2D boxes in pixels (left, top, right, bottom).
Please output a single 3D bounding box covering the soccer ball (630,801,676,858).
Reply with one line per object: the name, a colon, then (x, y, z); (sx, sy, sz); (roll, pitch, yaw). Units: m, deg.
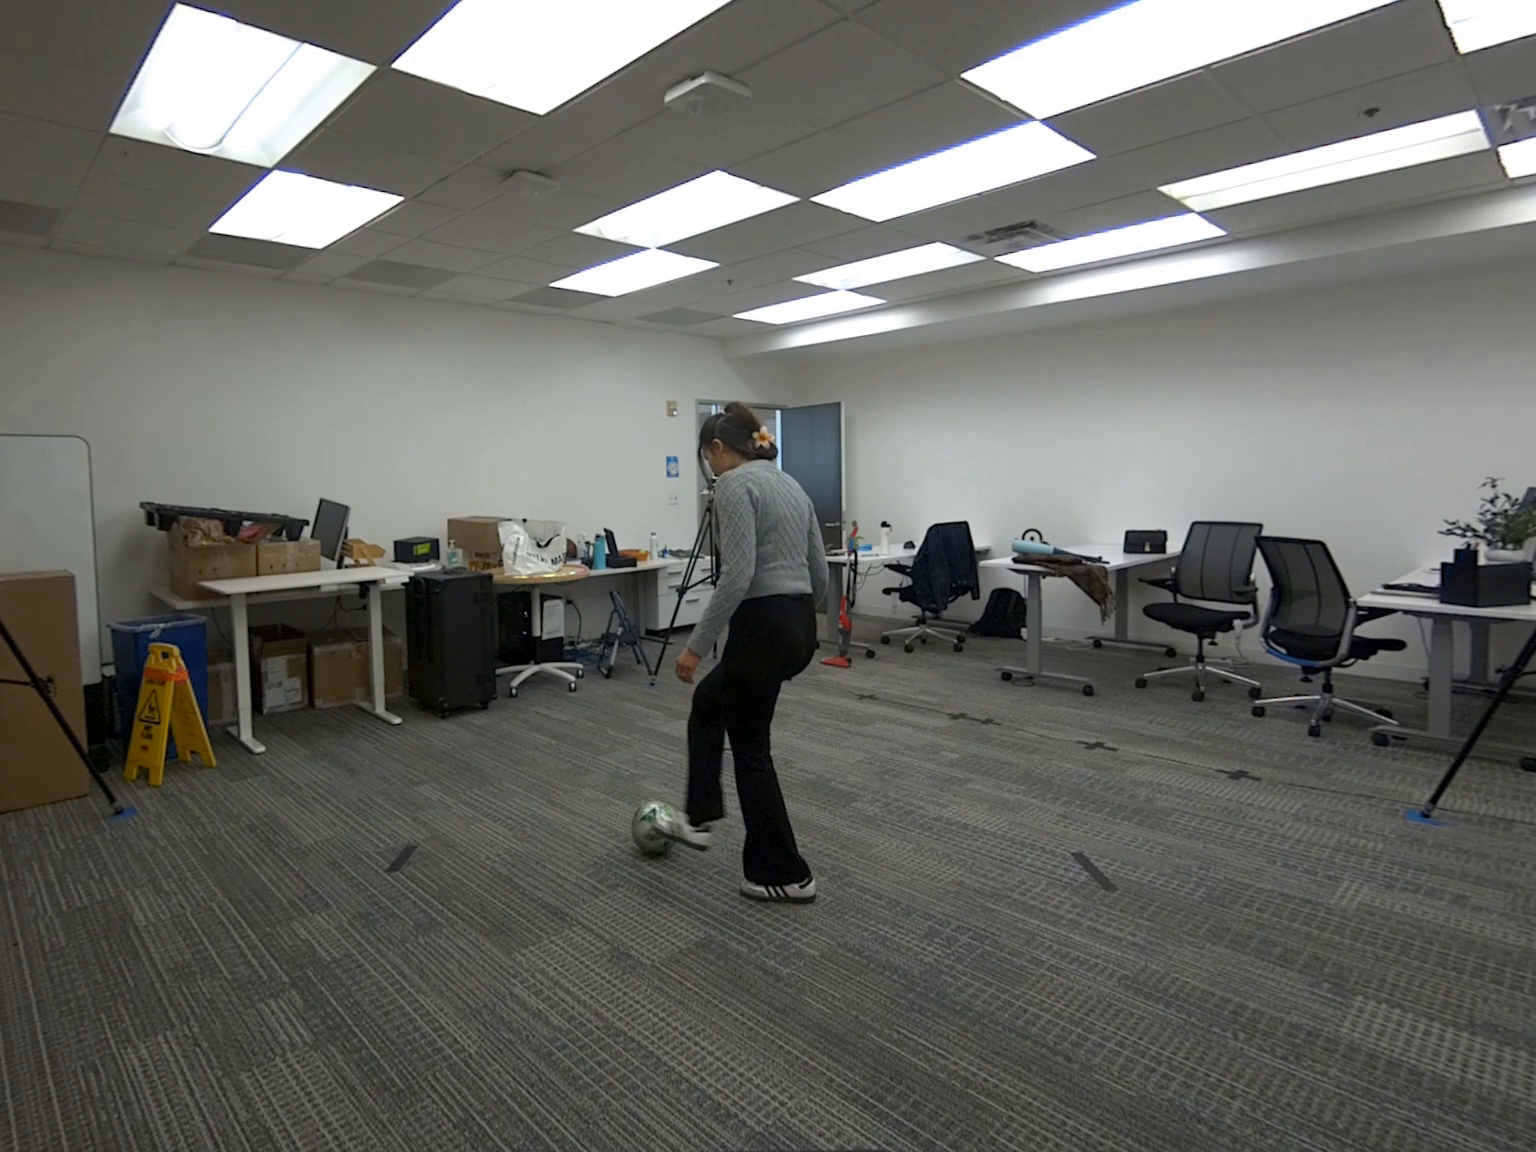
soccer ball: (-0.407, 0.945, 3.207); (0.187, 0.187, 0.188); (-1, 5, -2)
